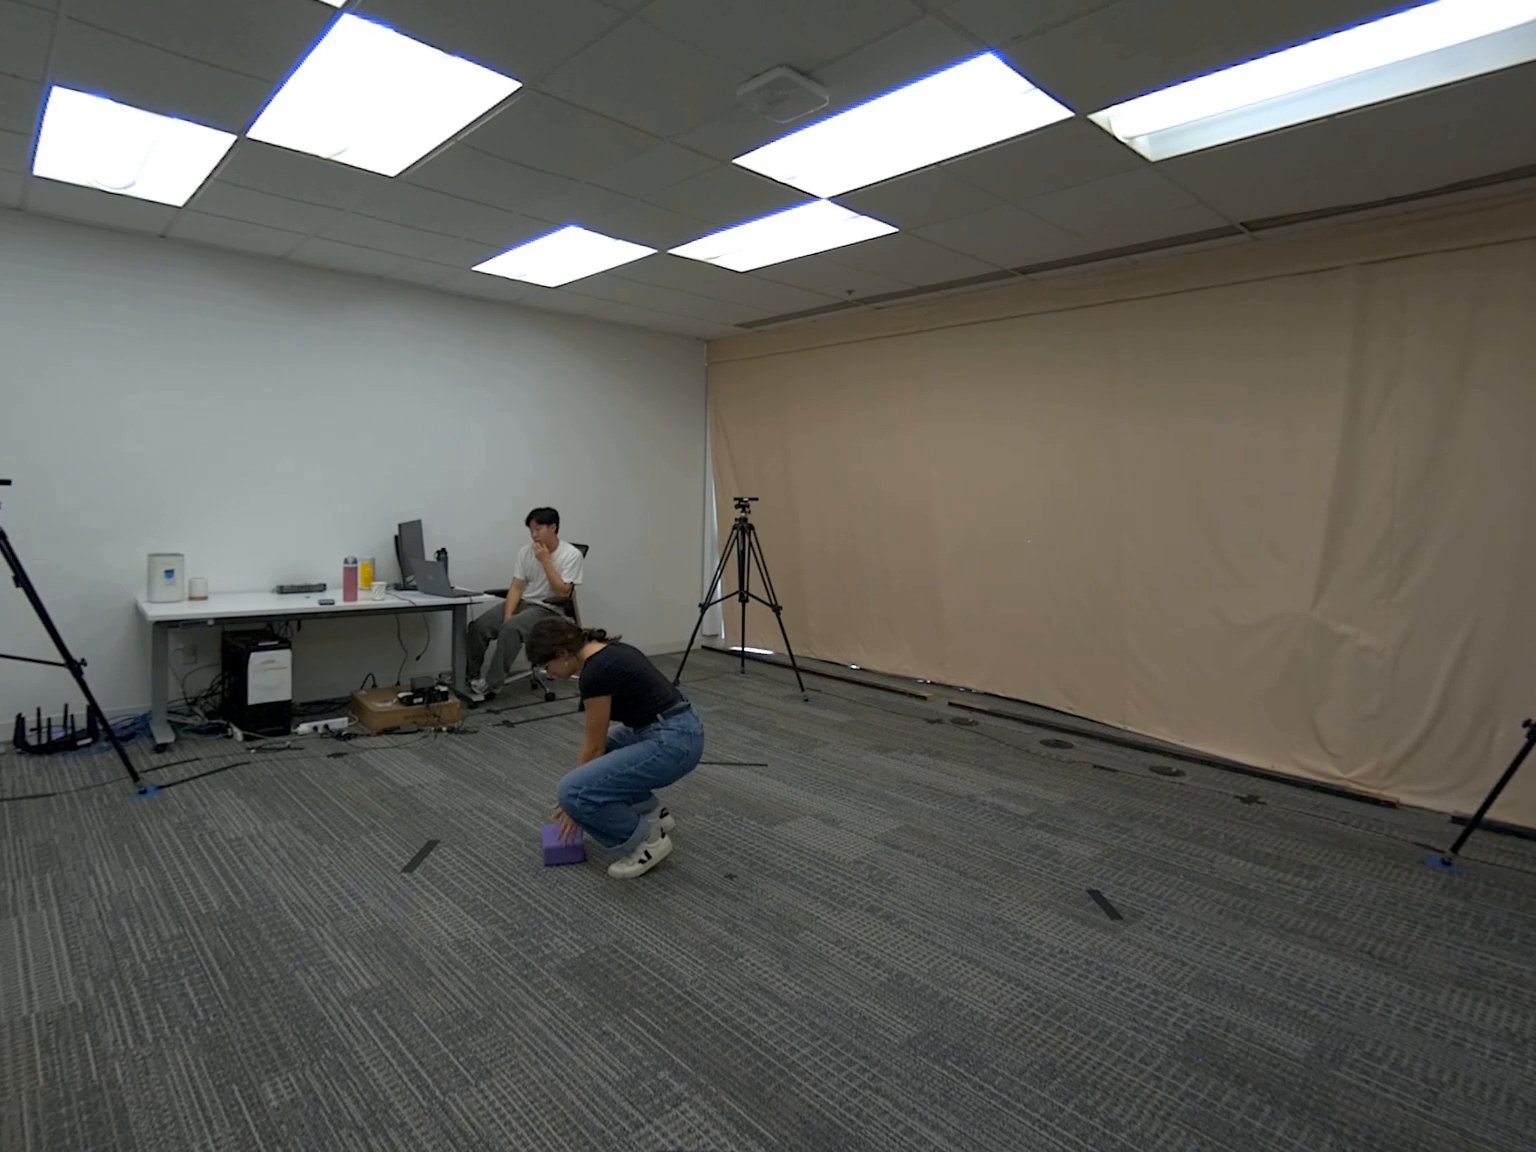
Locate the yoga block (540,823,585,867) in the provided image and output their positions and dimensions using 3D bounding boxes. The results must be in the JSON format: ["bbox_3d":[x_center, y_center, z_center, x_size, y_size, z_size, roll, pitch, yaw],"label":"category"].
[{"bbox_3d":[-0.803,1.033,3.272,0.147,0.076,0.232,0,6,-14],"label":"yoga block"}]
